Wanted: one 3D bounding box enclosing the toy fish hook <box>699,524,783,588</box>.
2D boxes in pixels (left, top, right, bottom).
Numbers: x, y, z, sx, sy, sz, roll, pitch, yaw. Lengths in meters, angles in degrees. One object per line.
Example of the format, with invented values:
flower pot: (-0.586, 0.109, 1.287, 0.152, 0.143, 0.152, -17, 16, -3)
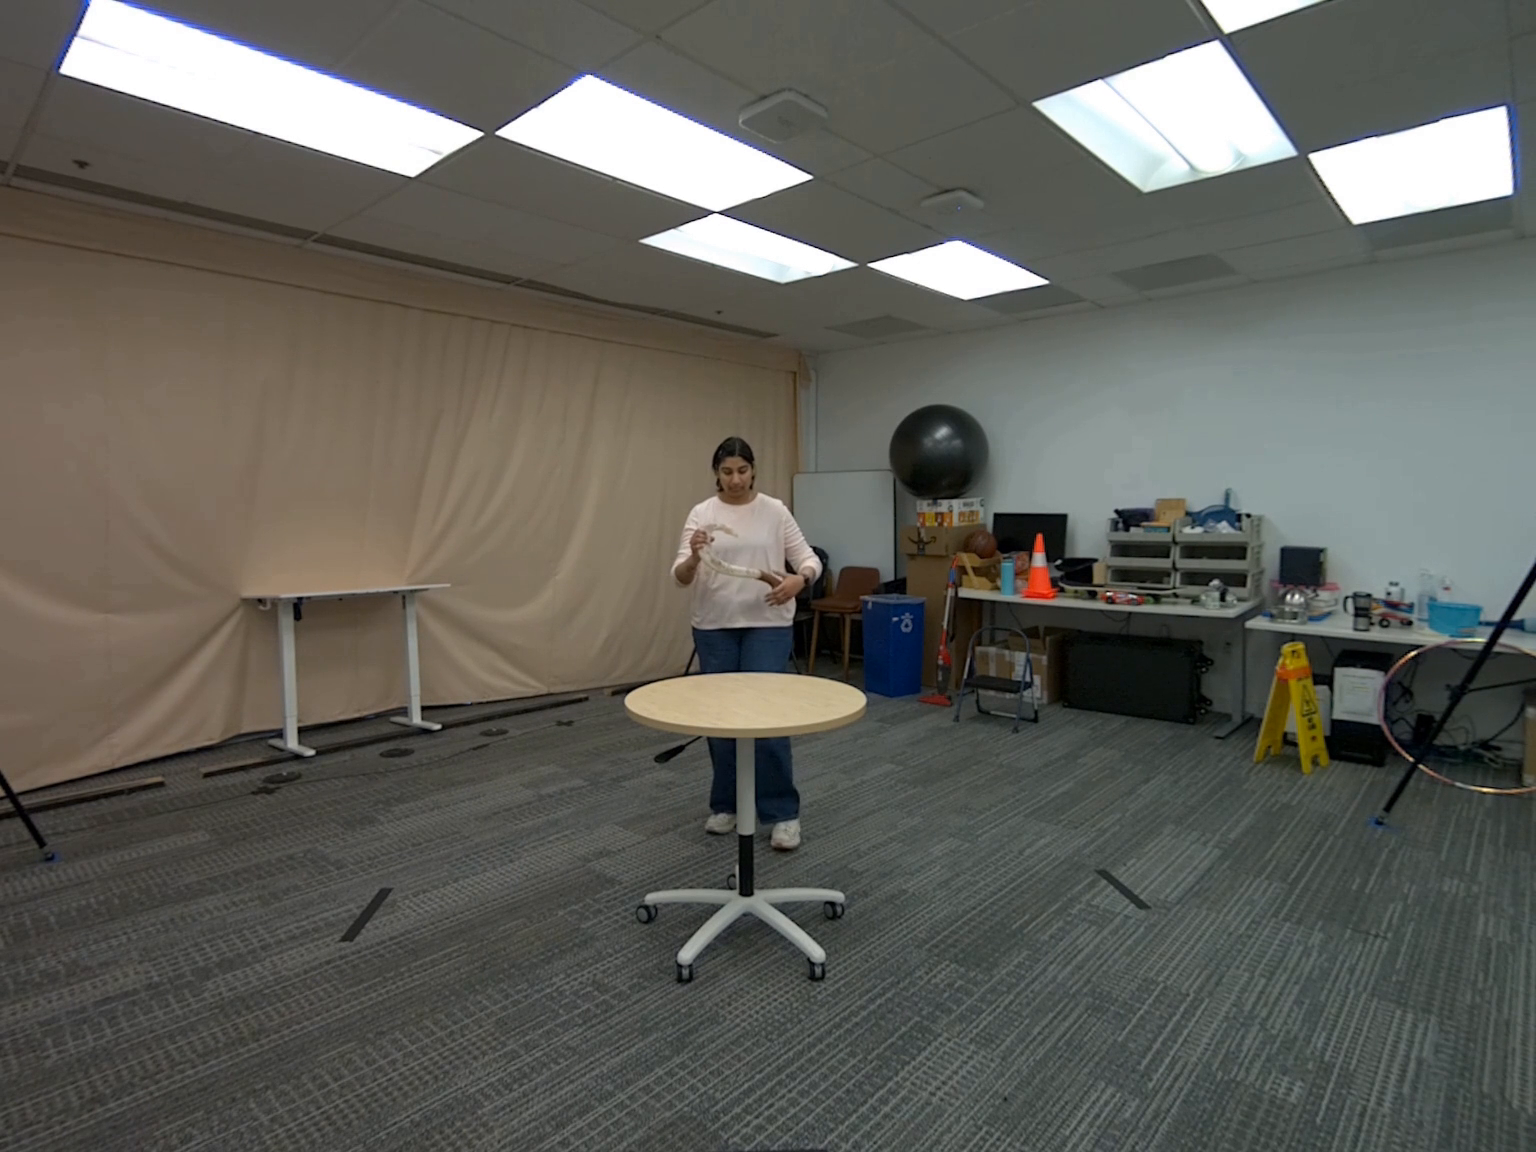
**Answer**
toy fish hook: (-0.077, -0.063, 3.332, 0.490, 0.227, 0.049, 27, -35, -31)
